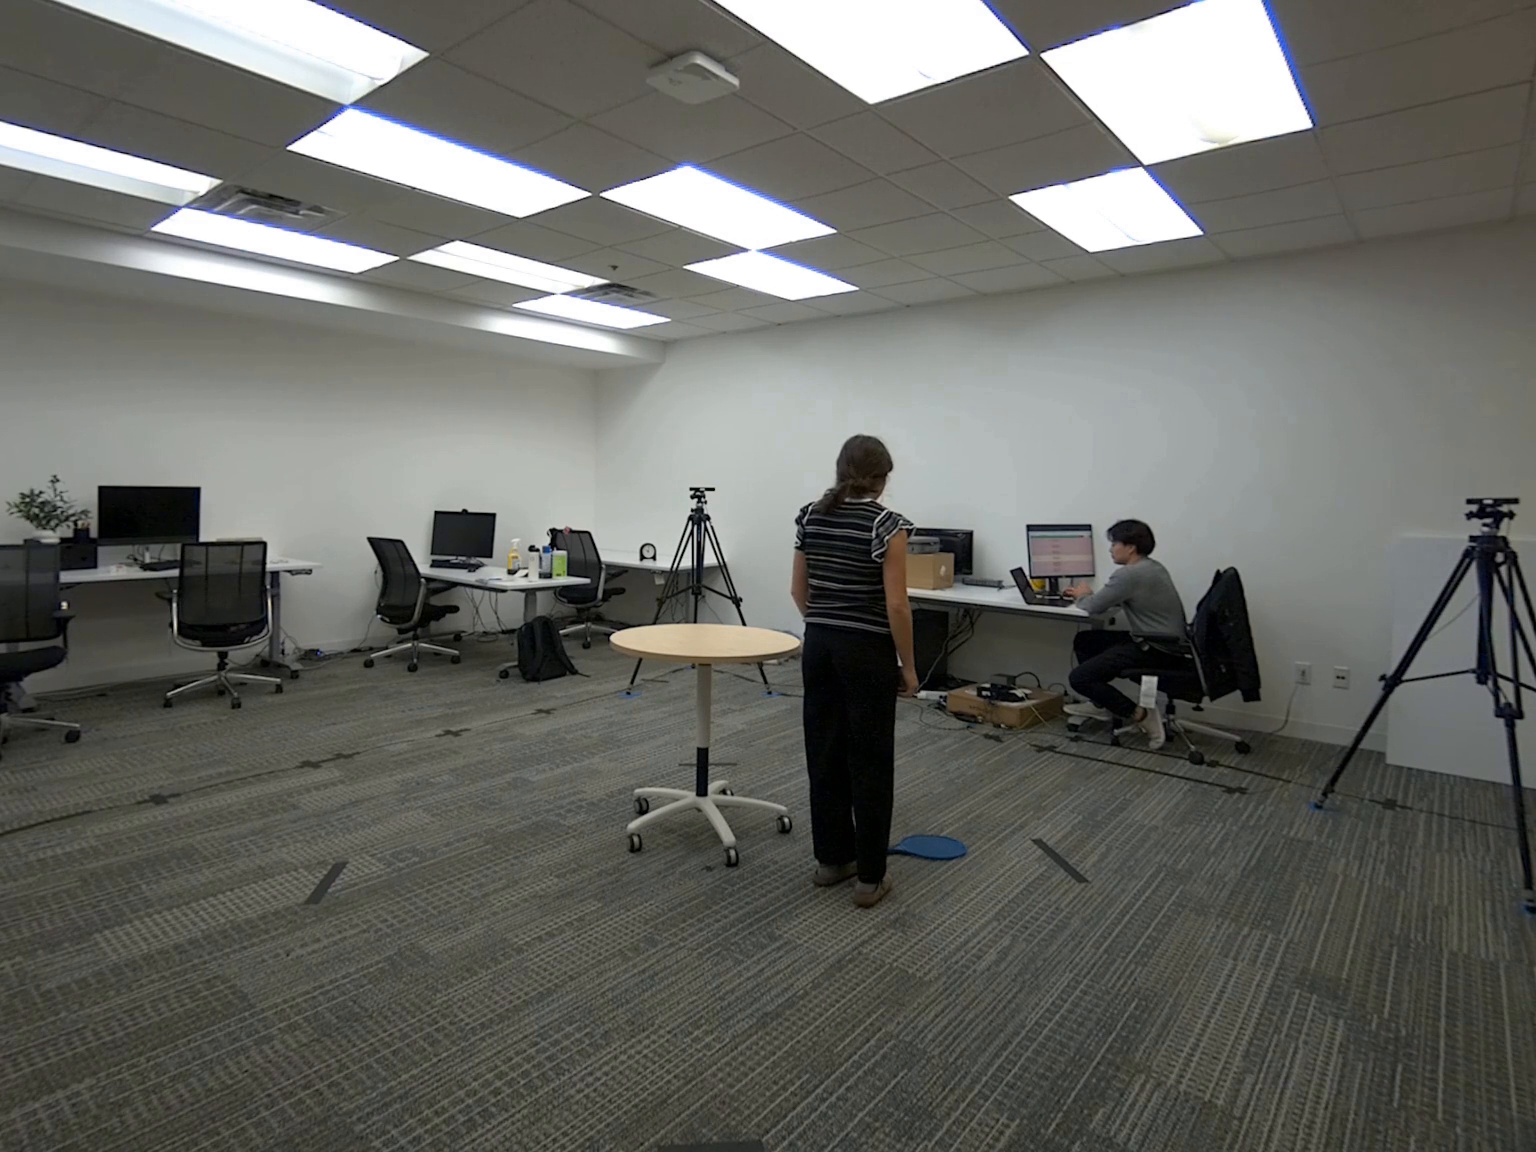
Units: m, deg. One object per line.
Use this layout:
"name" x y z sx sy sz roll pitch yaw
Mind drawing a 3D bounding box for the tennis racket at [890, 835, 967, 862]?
"tennis racket" 0.557 1.051 3.308 0.424 0.031 0.219 0 6 -20
